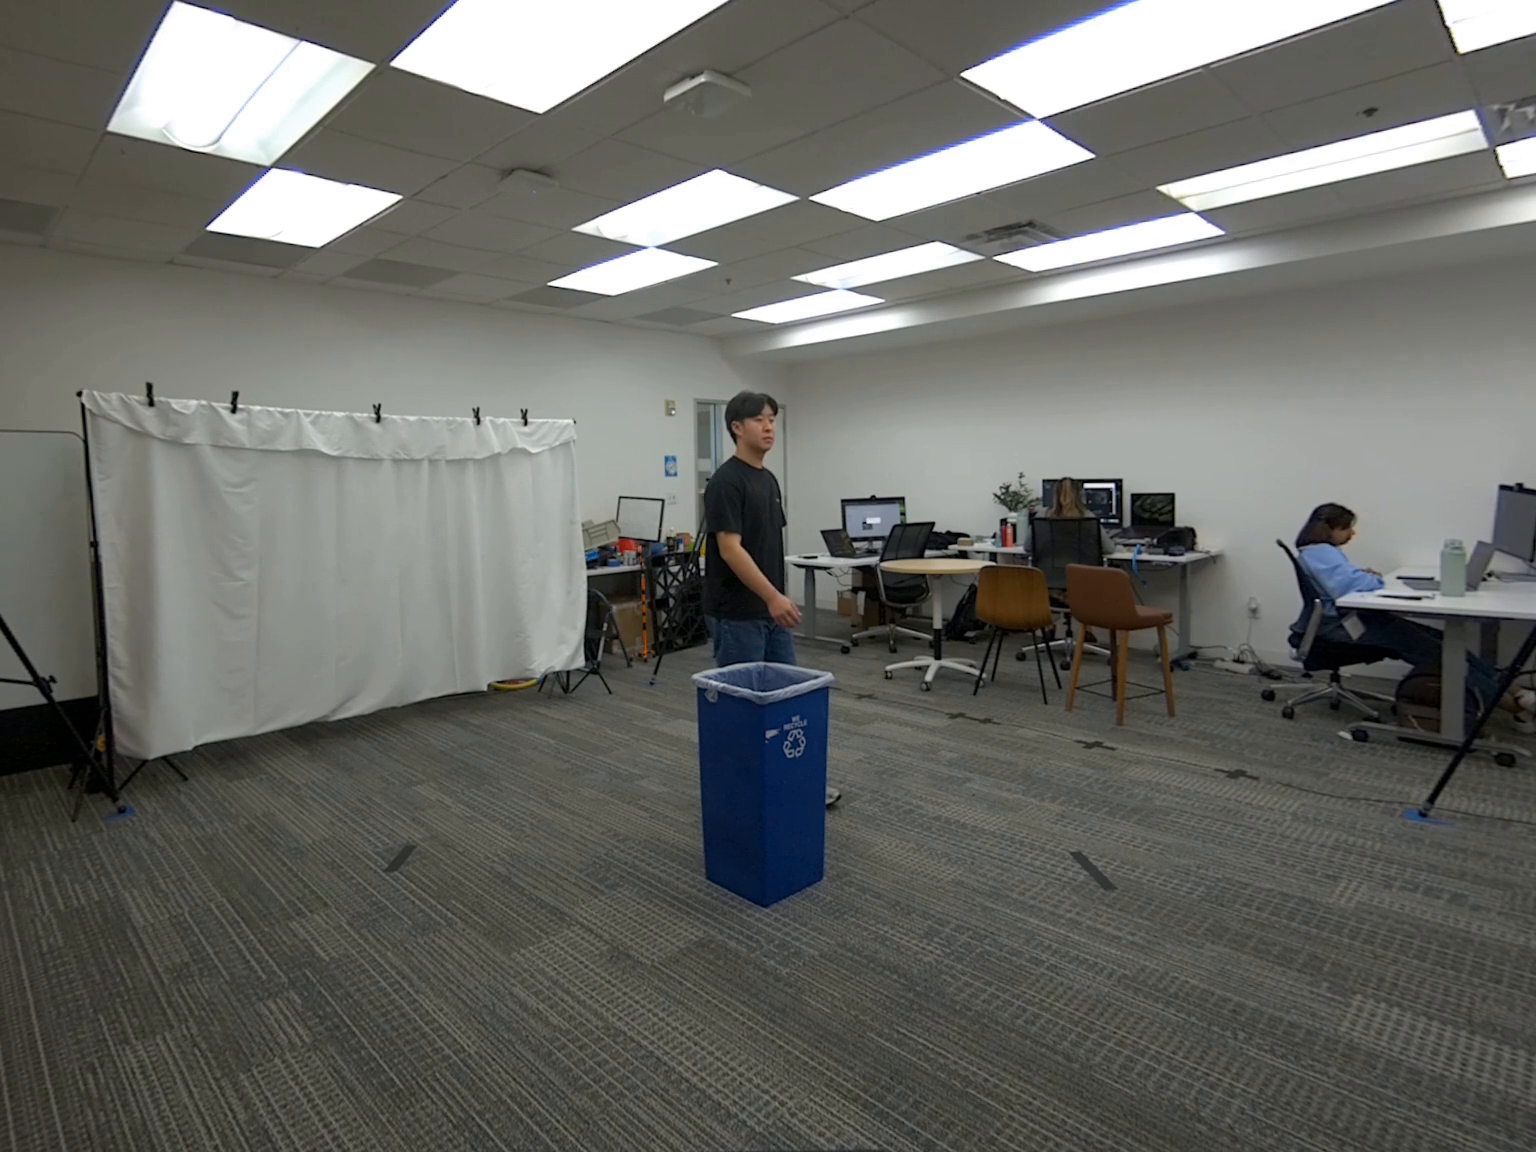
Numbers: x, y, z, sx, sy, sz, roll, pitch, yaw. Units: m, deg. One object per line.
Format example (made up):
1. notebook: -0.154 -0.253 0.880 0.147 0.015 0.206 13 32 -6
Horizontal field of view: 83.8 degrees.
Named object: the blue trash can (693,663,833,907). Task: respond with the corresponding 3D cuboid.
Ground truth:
1. blue trash can: -0.016 0.700 2.970 0.364 0.711 0.390 -5 6 -44
